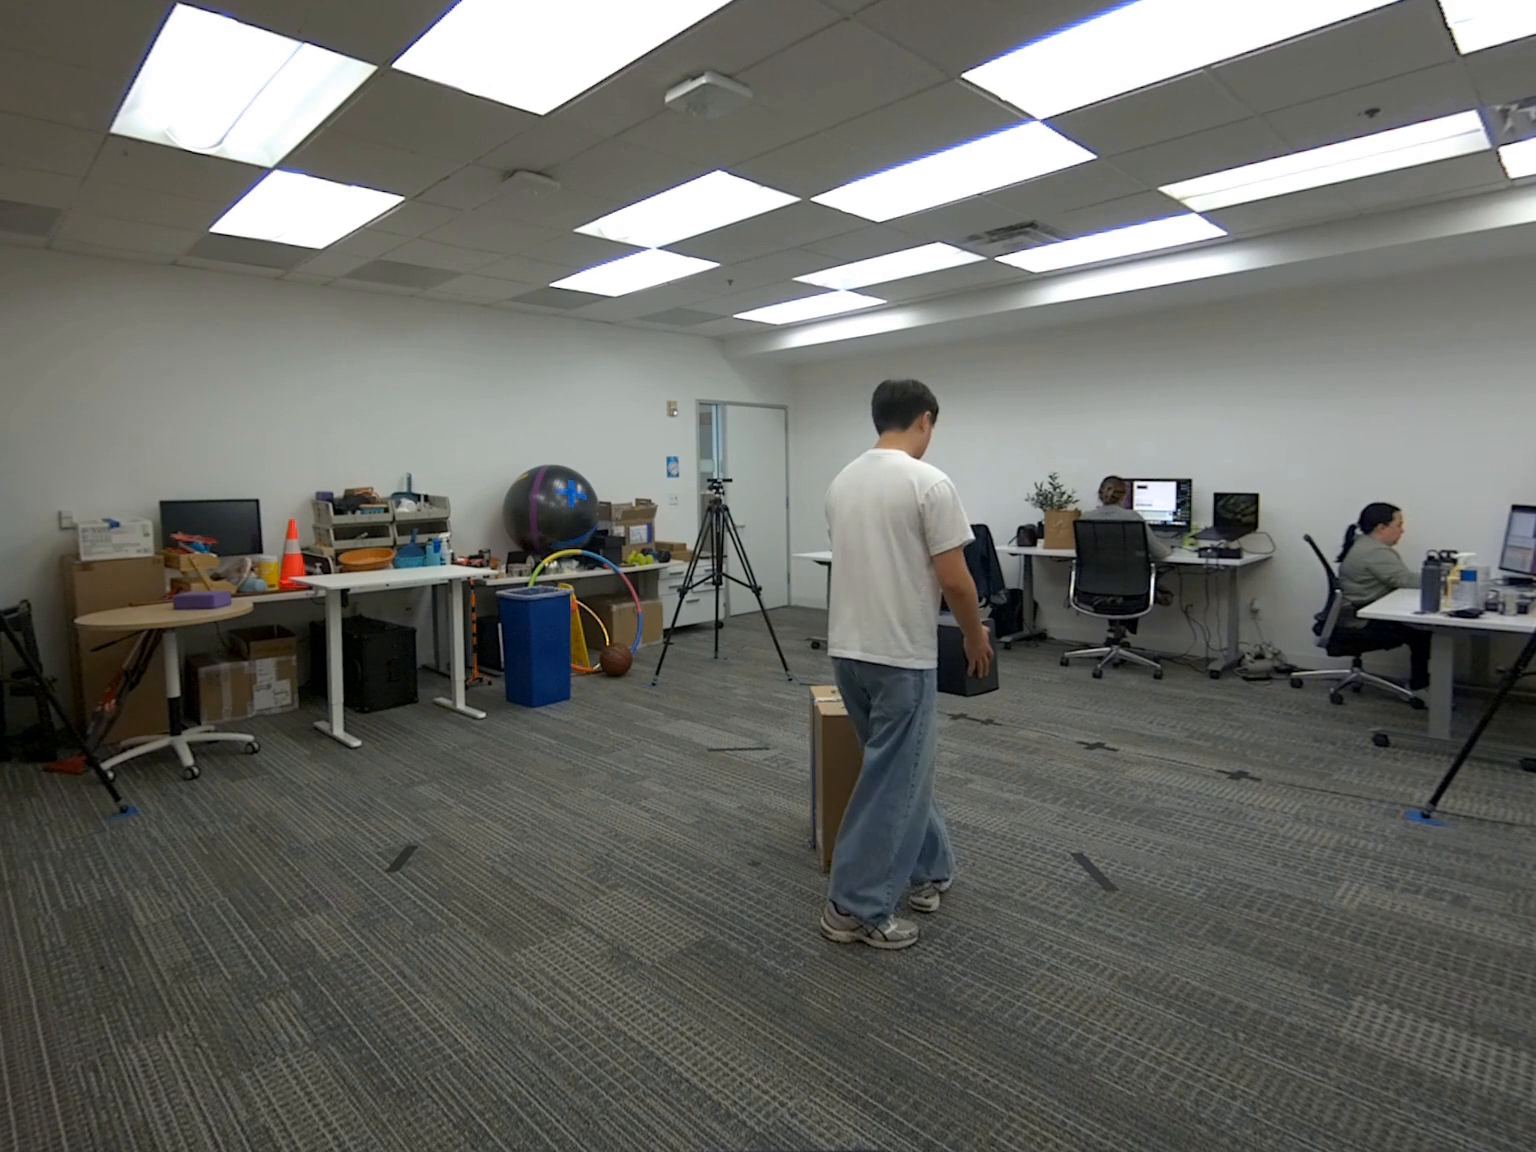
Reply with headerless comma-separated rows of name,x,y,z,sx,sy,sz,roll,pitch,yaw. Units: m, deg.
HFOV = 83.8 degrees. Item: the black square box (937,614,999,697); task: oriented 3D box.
black square box,0.612,0.254,2.793,0.152,0.227,0.223,-7,5,-34
